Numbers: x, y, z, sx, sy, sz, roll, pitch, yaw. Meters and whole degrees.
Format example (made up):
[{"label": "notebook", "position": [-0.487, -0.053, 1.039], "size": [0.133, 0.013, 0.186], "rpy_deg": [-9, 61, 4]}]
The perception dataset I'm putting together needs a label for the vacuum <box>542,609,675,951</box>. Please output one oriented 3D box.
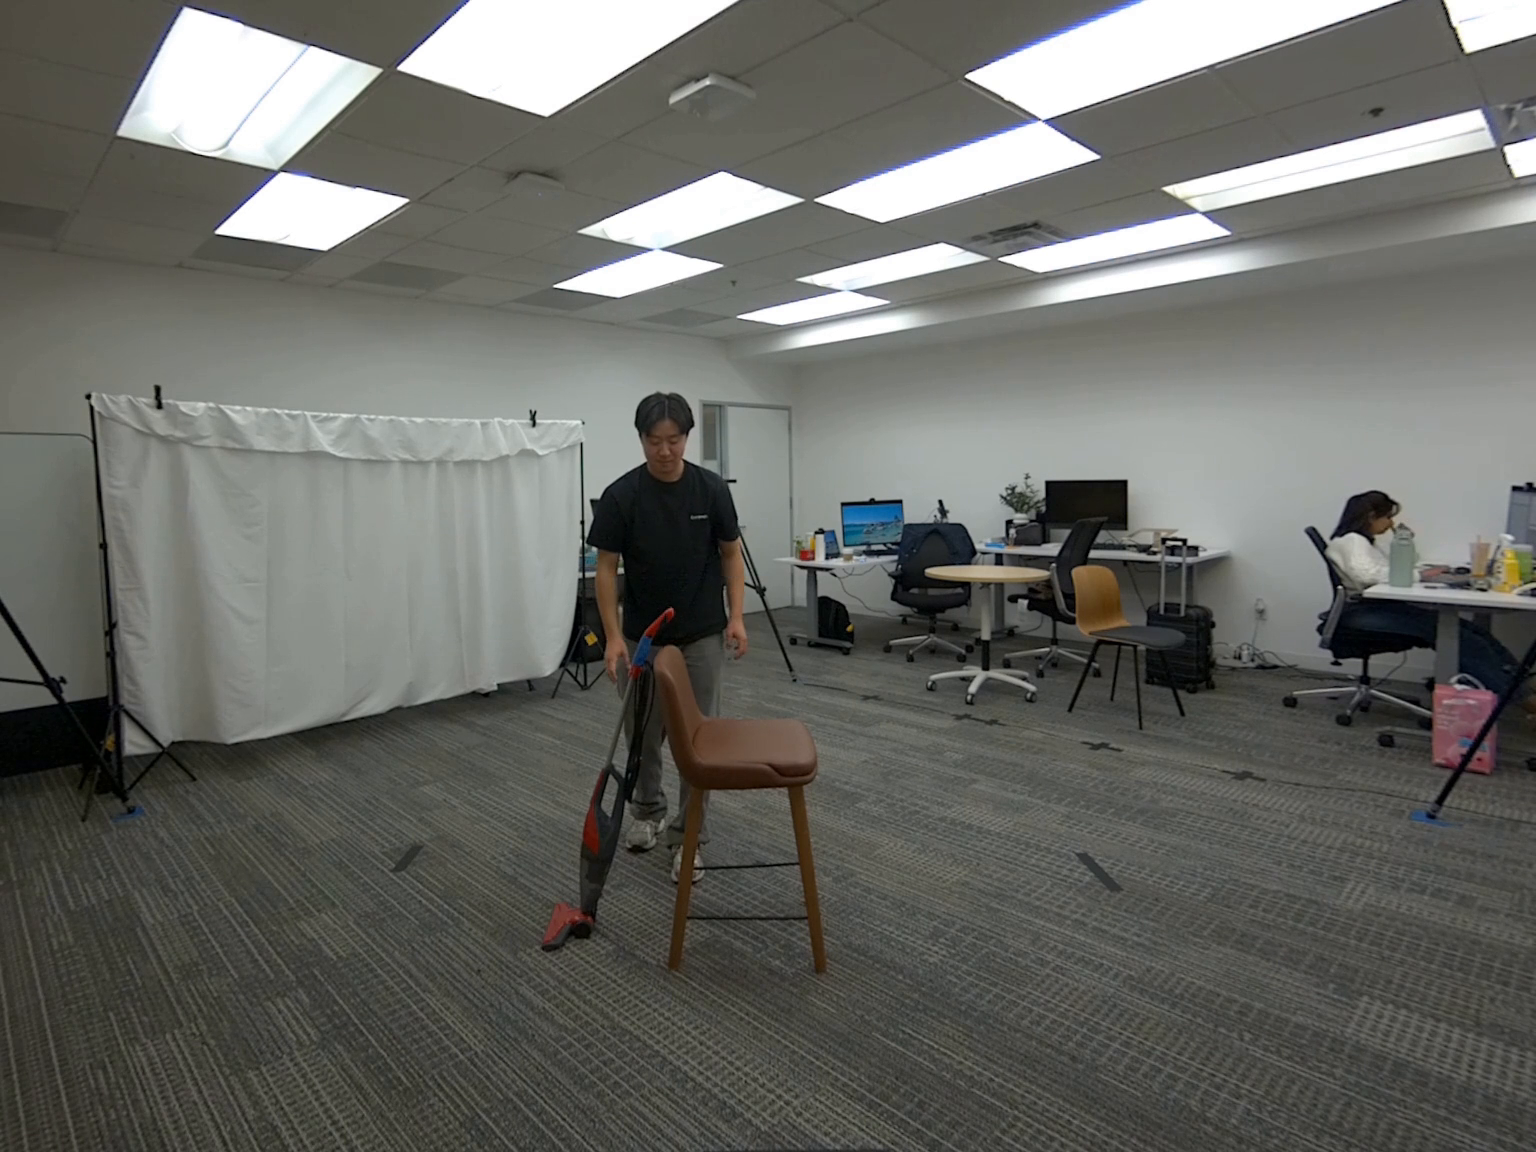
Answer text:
[{"label": "vacuum", "position": [-0.474, 0.606, 2.663], "size": [0.141, 1.048, 0.257], "rpy_deg": [16, 1, -16]}]
